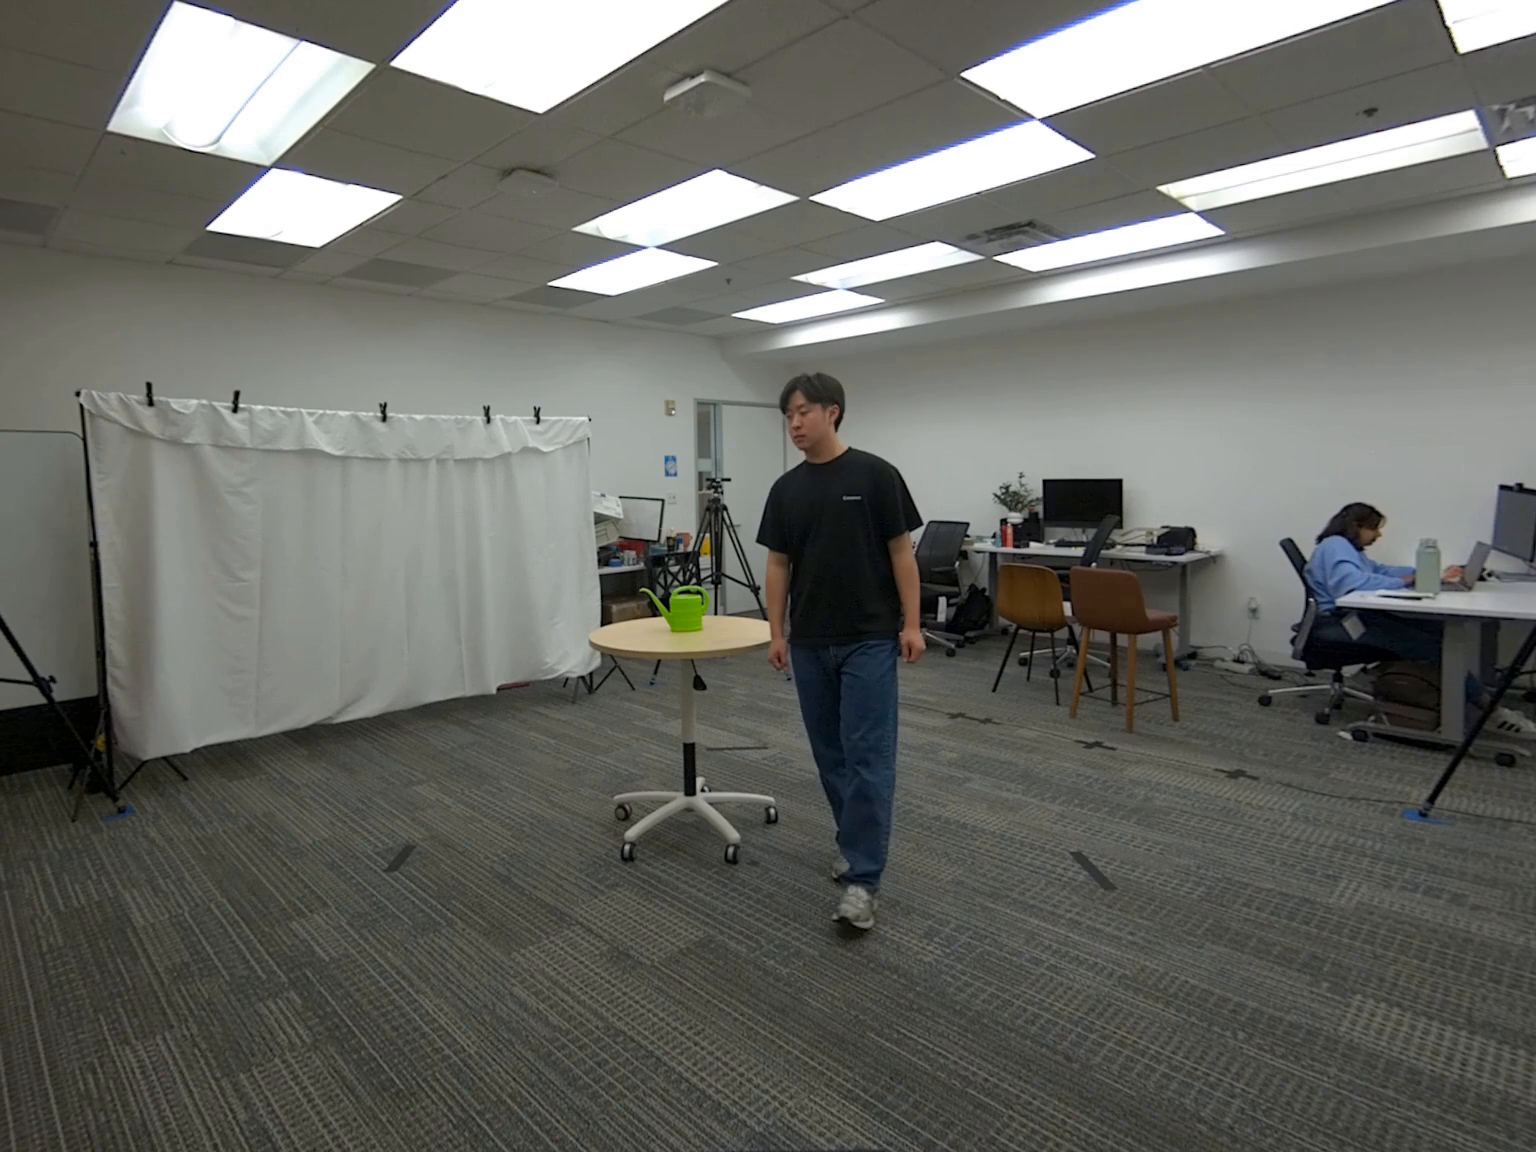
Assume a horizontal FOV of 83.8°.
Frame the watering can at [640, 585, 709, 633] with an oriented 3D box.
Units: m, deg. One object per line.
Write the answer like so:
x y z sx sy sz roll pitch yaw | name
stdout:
-0.370 0.129 3.406 0.278 0.176 0.098 -1 4 -2 | watering can
